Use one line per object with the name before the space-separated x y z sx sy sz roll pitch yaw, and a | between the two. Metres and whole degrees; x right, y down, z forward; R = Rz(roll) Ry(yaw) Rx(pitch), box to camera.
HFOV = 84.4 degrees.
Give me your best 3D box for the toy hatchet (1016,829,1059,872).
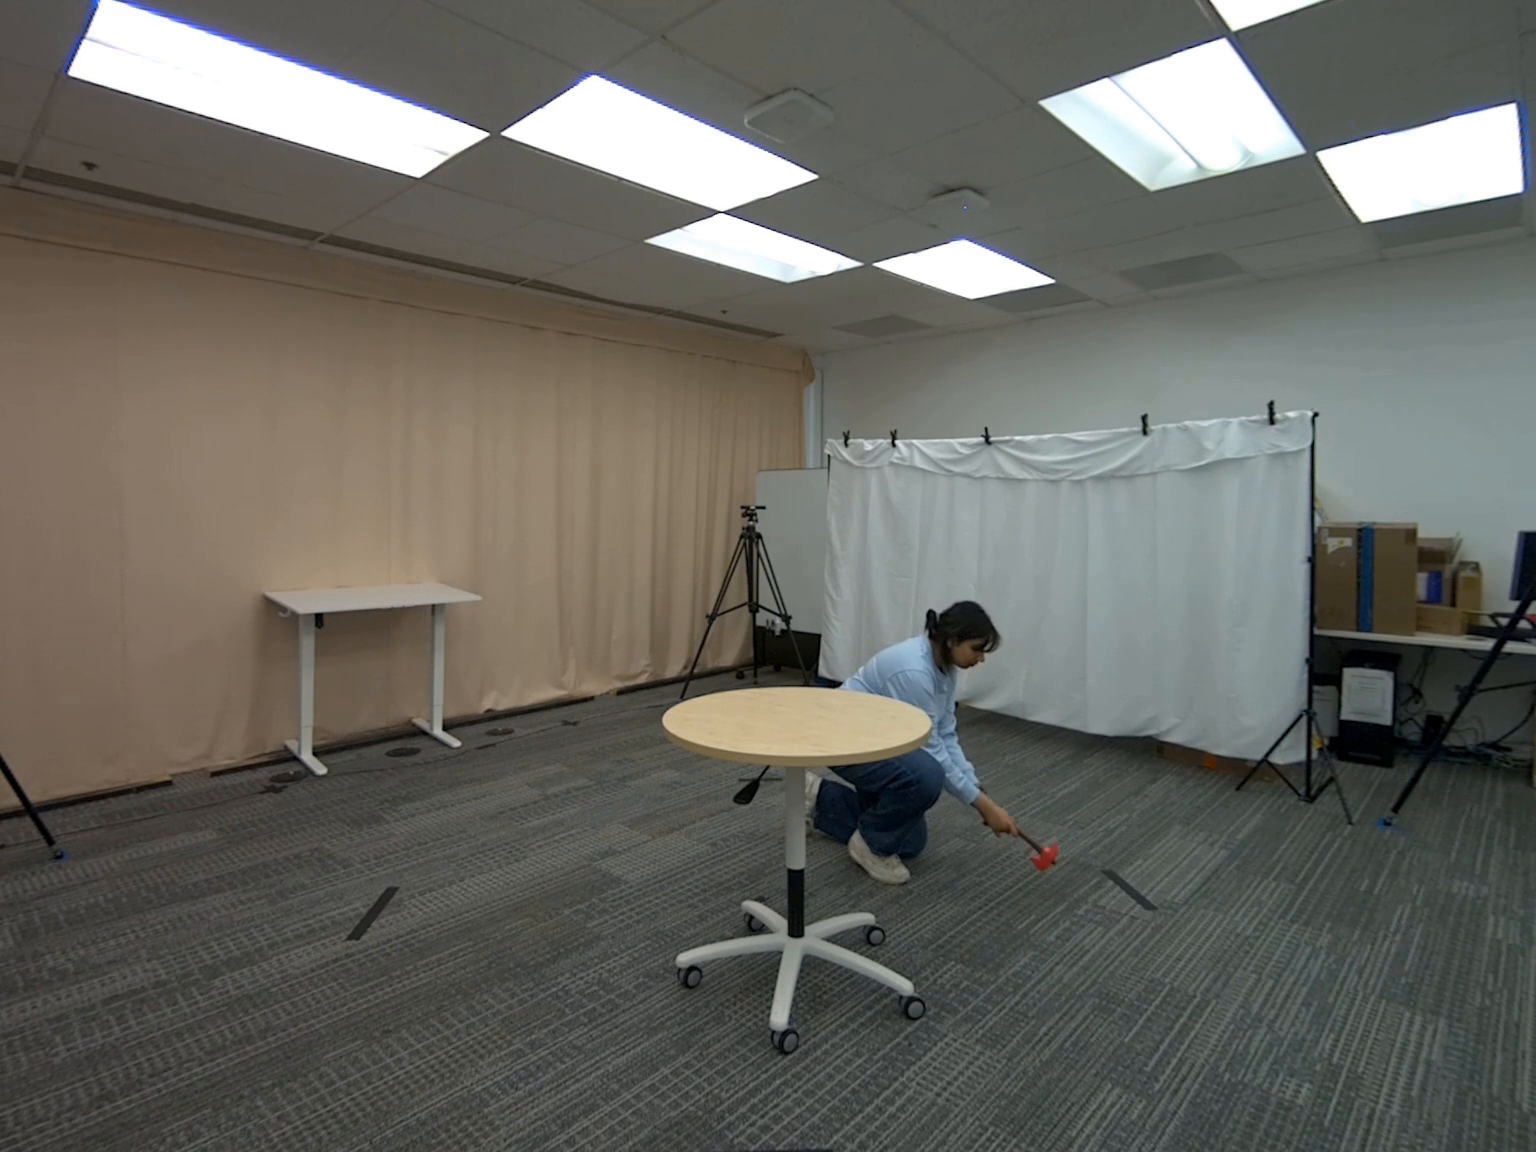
toy hatchet | 0.928 0.952 3.009 0.029 0.130 0.279 -9 13 -35
